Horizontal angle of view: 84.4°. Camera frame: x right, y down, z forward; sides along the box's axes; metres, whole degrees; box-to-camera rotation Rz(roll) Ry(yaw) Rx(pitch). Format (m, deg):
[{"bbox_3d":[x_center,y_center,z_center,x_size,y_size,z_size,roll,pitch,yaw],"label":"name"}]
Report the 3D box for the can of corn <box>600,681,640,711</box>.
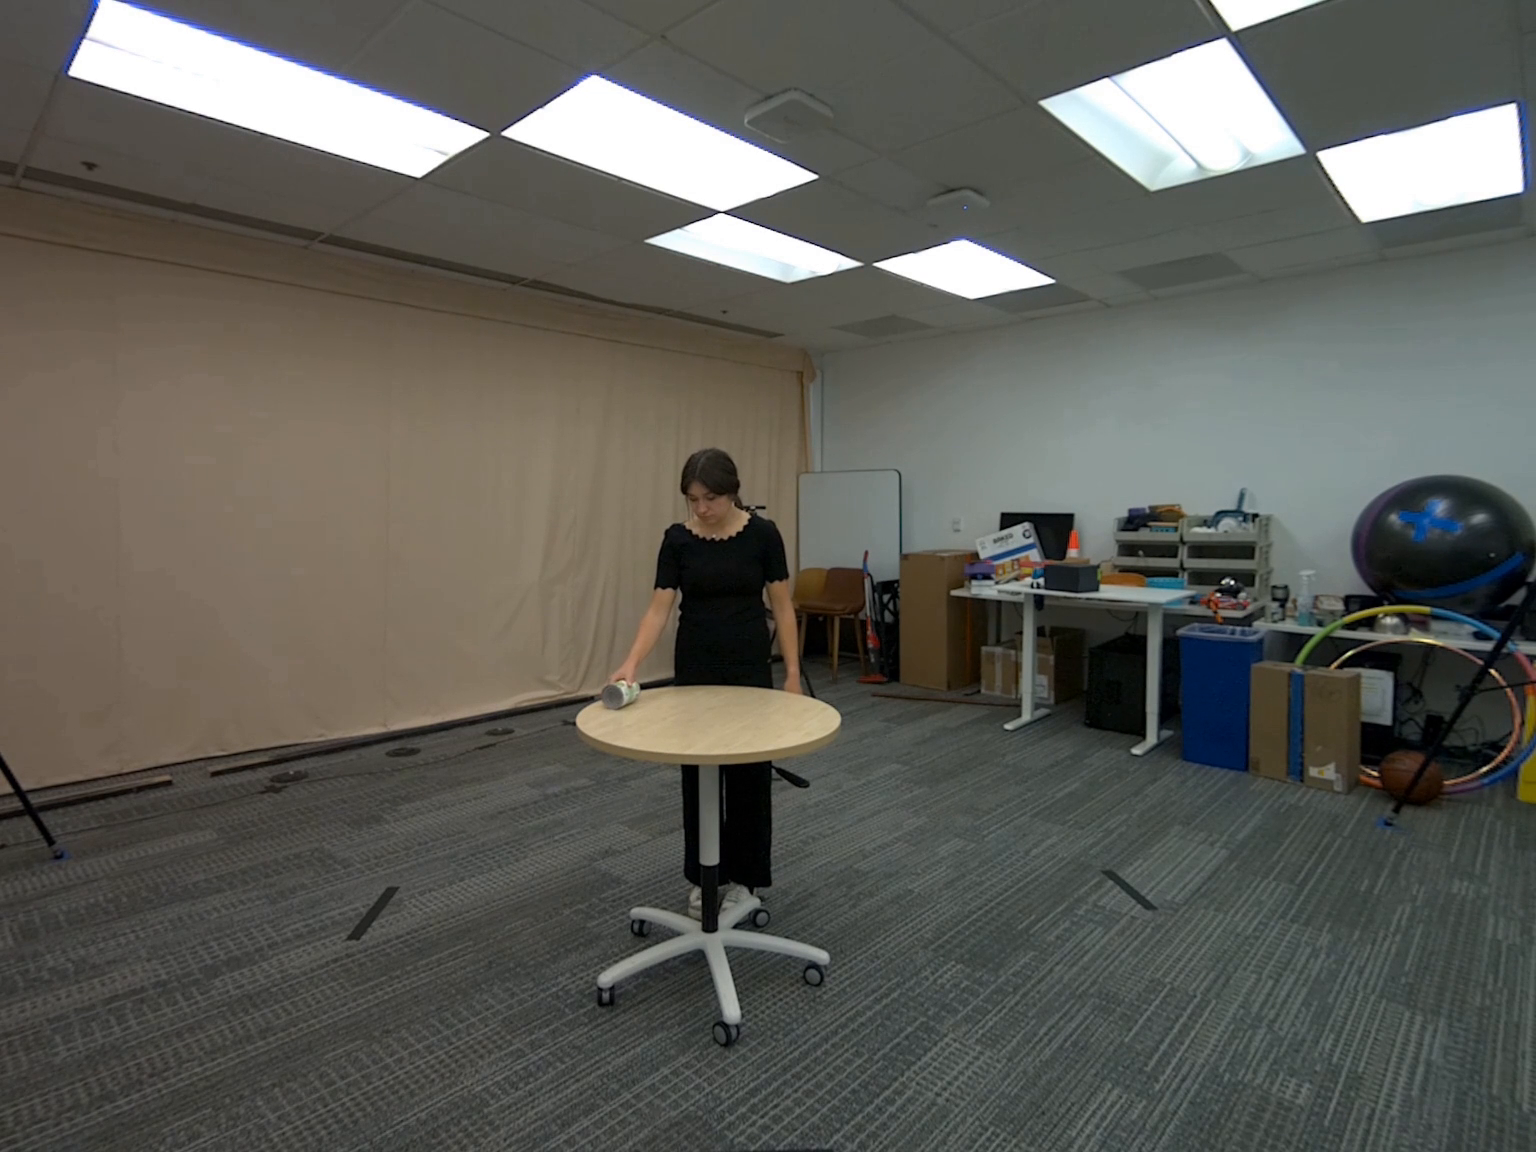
[{"bbox_3d":[-0.442,0.355,2.563,0.075,0.074,0.109,1,3,15],"label":"can of corn"}]
